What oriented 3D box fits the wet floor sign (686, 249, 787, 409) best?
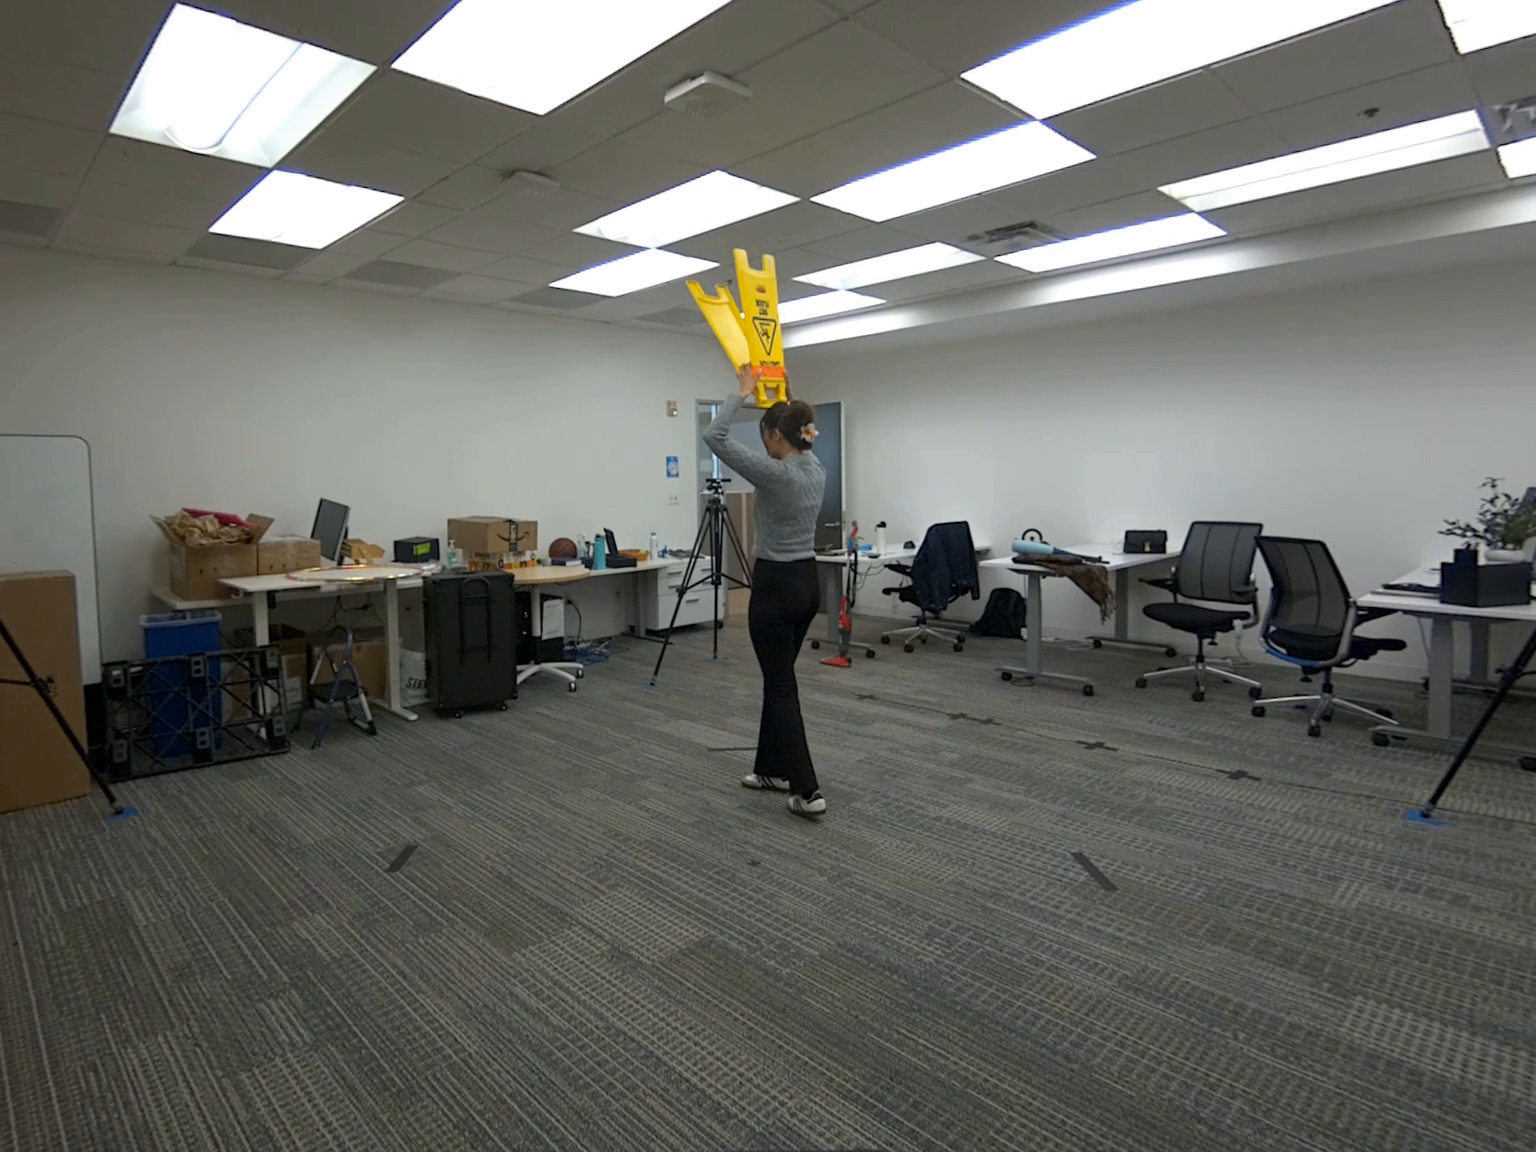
[{"bbox_3d":[-0.070,-1.034,3.701,0.294,0.650,0.276,-22,-6,39],"label":"wet floor sign"}]
